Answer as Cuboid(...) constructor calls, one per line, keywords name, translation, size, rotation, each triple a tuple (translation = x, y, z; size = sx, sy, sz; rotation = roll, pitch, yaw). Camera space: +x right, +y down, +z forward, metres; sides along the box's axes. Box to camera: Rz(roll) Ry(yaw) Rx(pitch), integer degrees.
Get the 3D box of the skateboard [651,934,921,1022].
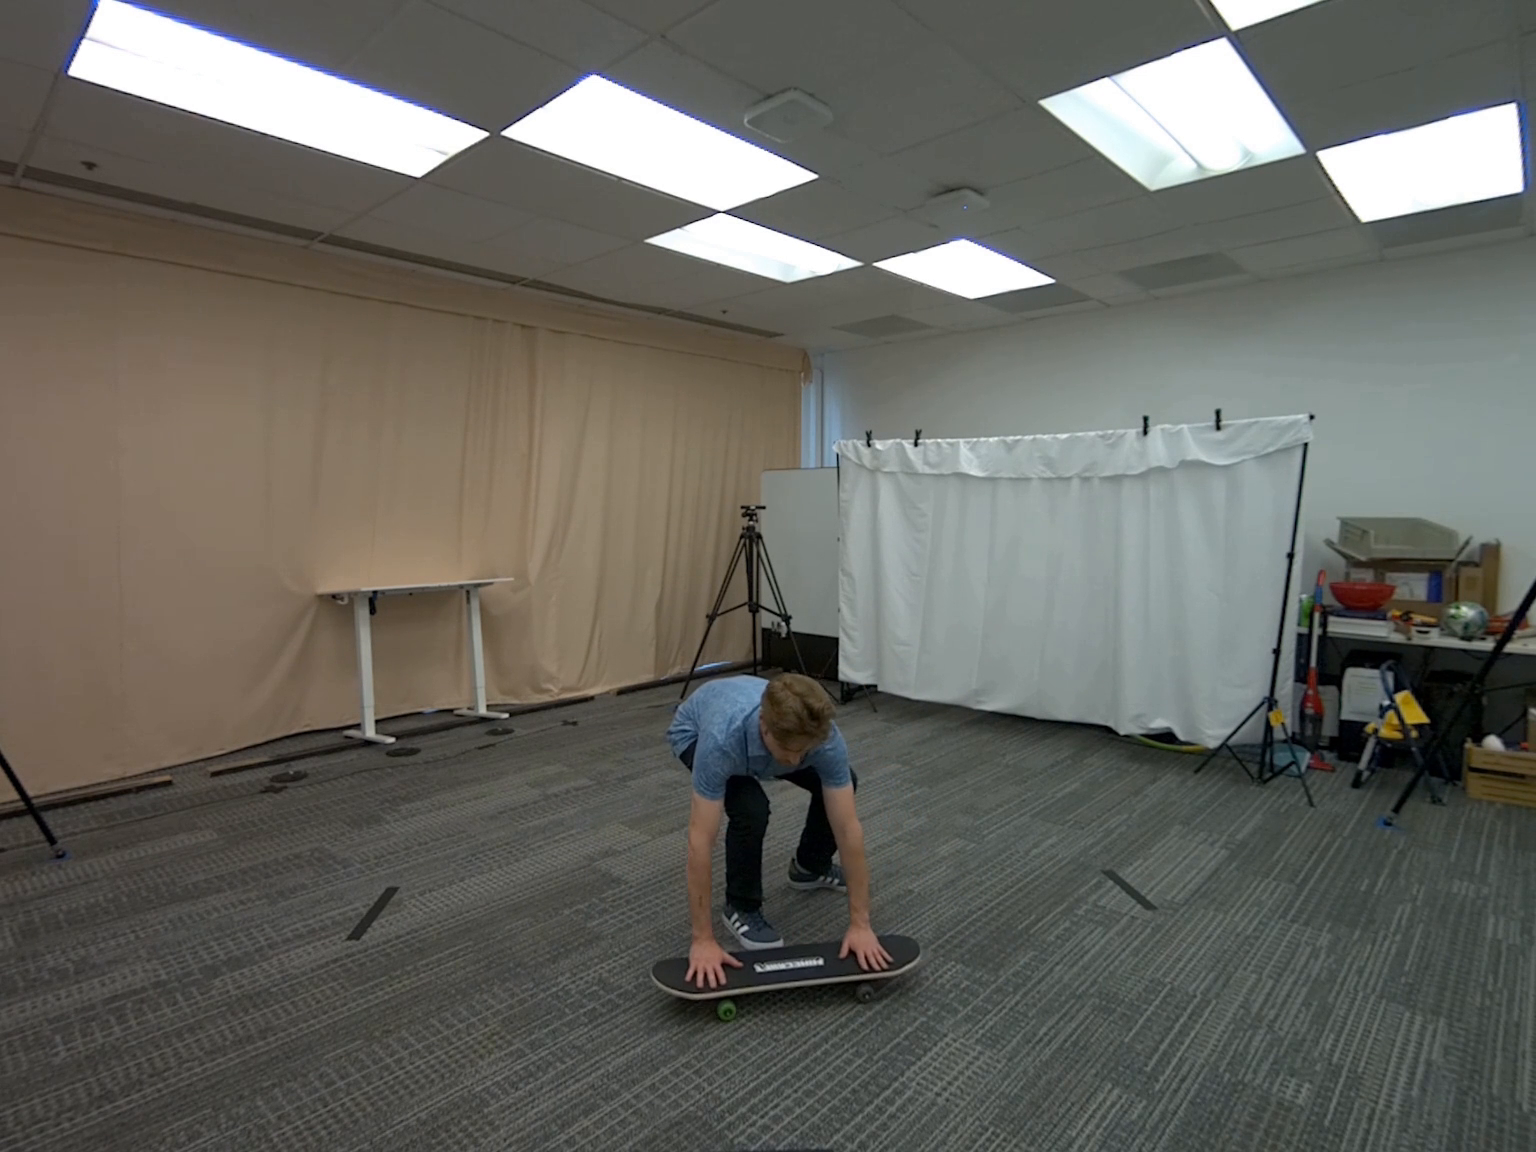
Cuboid(name="skateboard", translation=(0.066, 1.128, 2.402), size=(0.776, 0.110, 0.196), rotation=(-1, 6, -11))
